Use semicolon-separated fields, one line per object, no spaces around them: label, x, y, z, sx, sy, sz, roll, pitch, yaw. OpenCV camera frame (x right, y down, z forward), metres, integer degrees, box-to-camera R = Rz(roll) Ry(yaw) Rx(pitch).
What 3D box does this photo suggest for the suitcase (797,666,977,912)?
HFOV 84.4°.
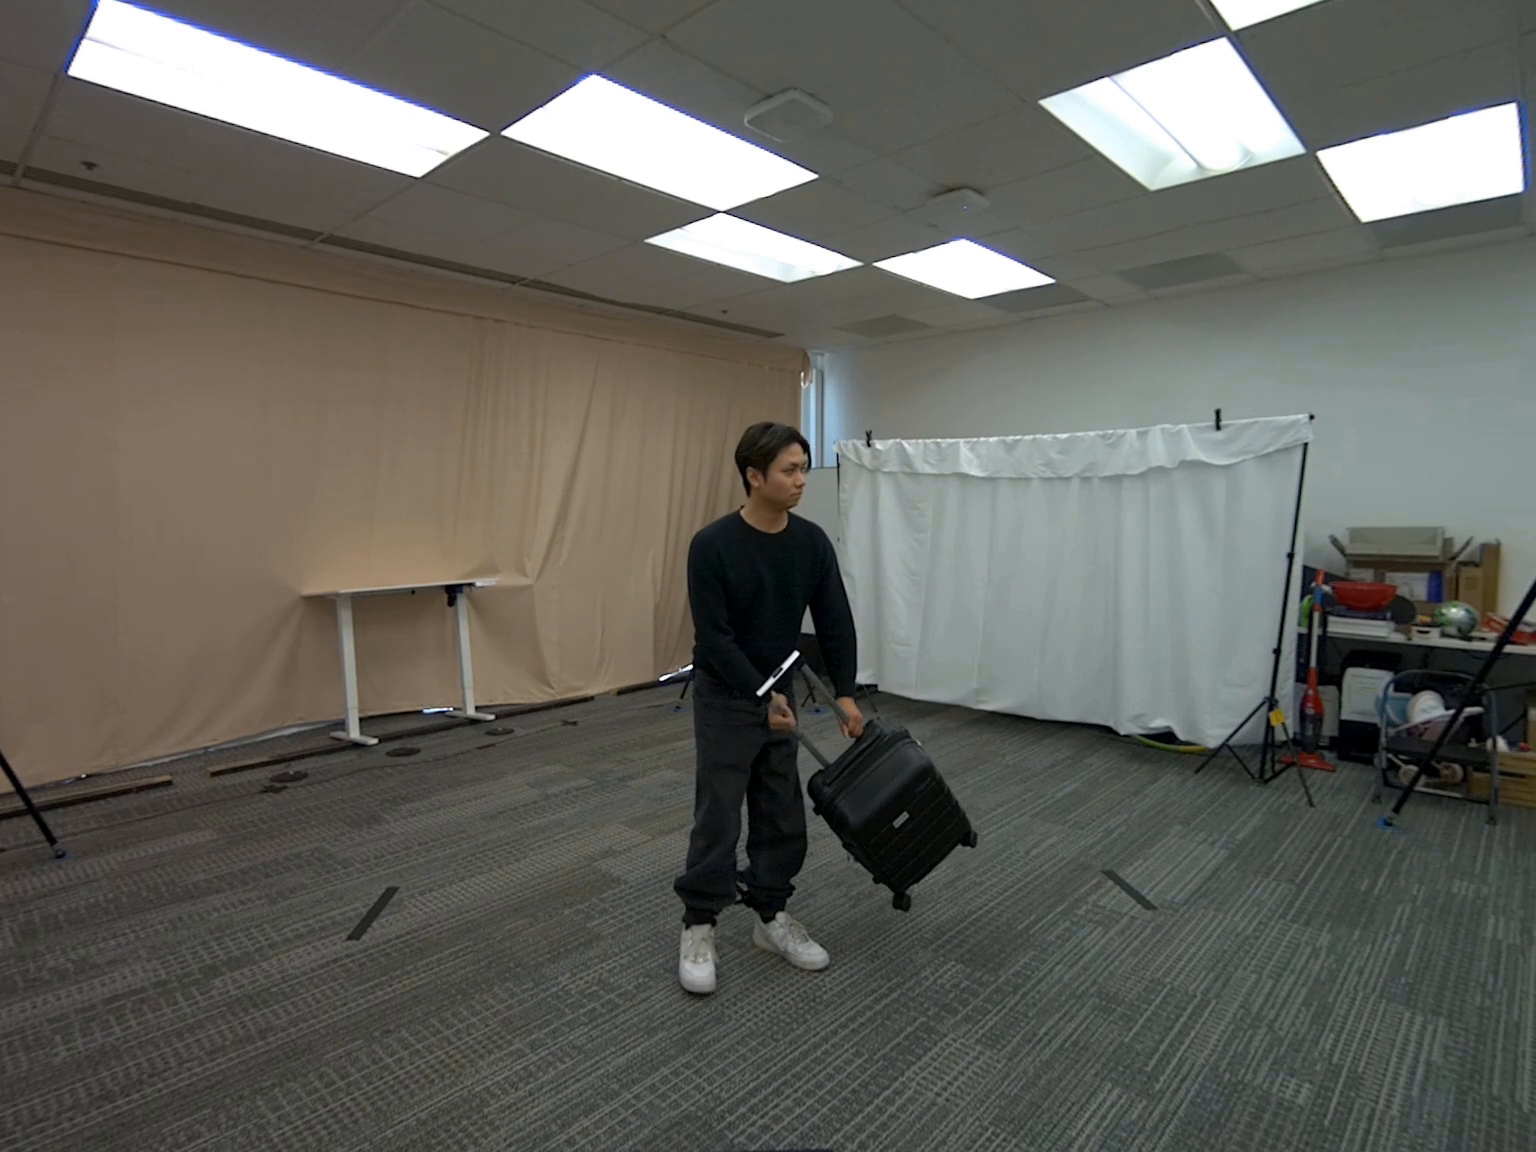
suitcase;0.306;0.611;2.473;0.266;0.383;0.946;40;-11;46
